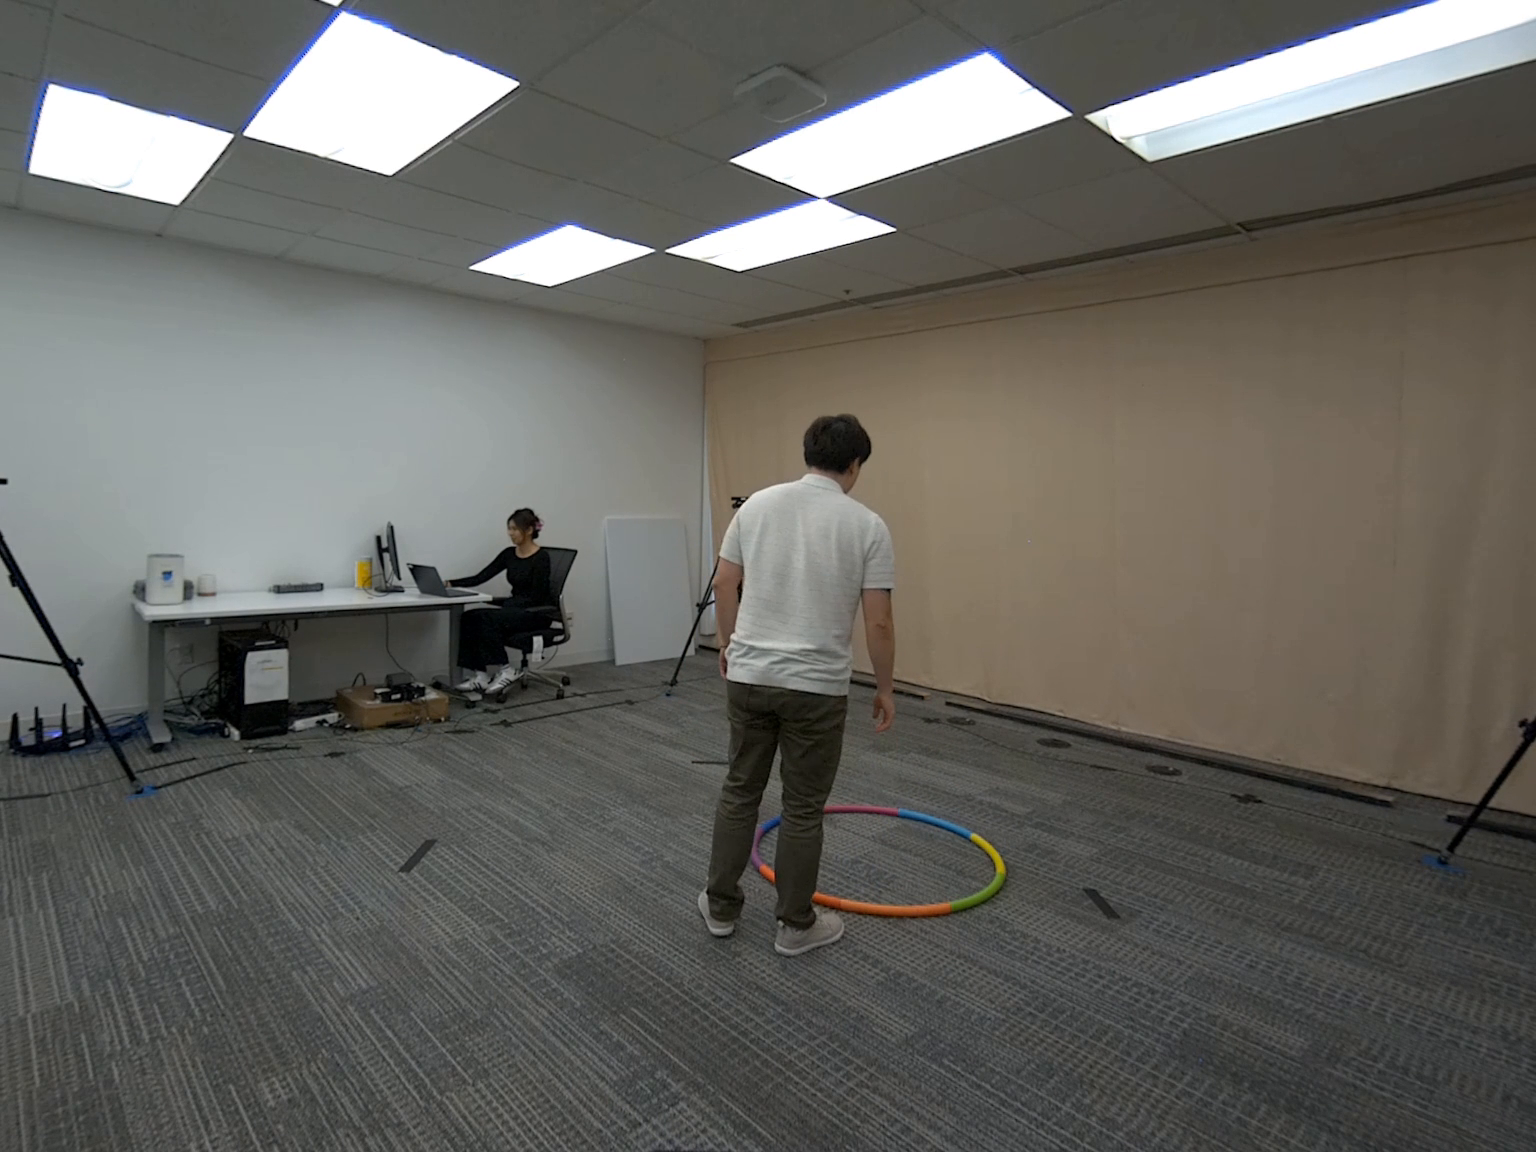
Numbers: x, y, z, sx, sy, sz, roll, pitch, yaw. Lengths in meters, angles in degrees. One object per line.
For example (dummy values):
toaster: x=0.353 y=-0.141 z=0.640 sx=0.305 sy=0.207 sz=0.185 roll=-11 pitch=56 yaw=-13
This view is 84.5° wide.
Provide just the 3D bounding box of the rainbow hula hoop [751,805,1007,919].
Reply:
rainbow hula hoop: x=0.402 y=1.073 z=3.303 sx=0.978 sy=0.035 sz=0.982 roll=1 pitch=5 yaw=-1
